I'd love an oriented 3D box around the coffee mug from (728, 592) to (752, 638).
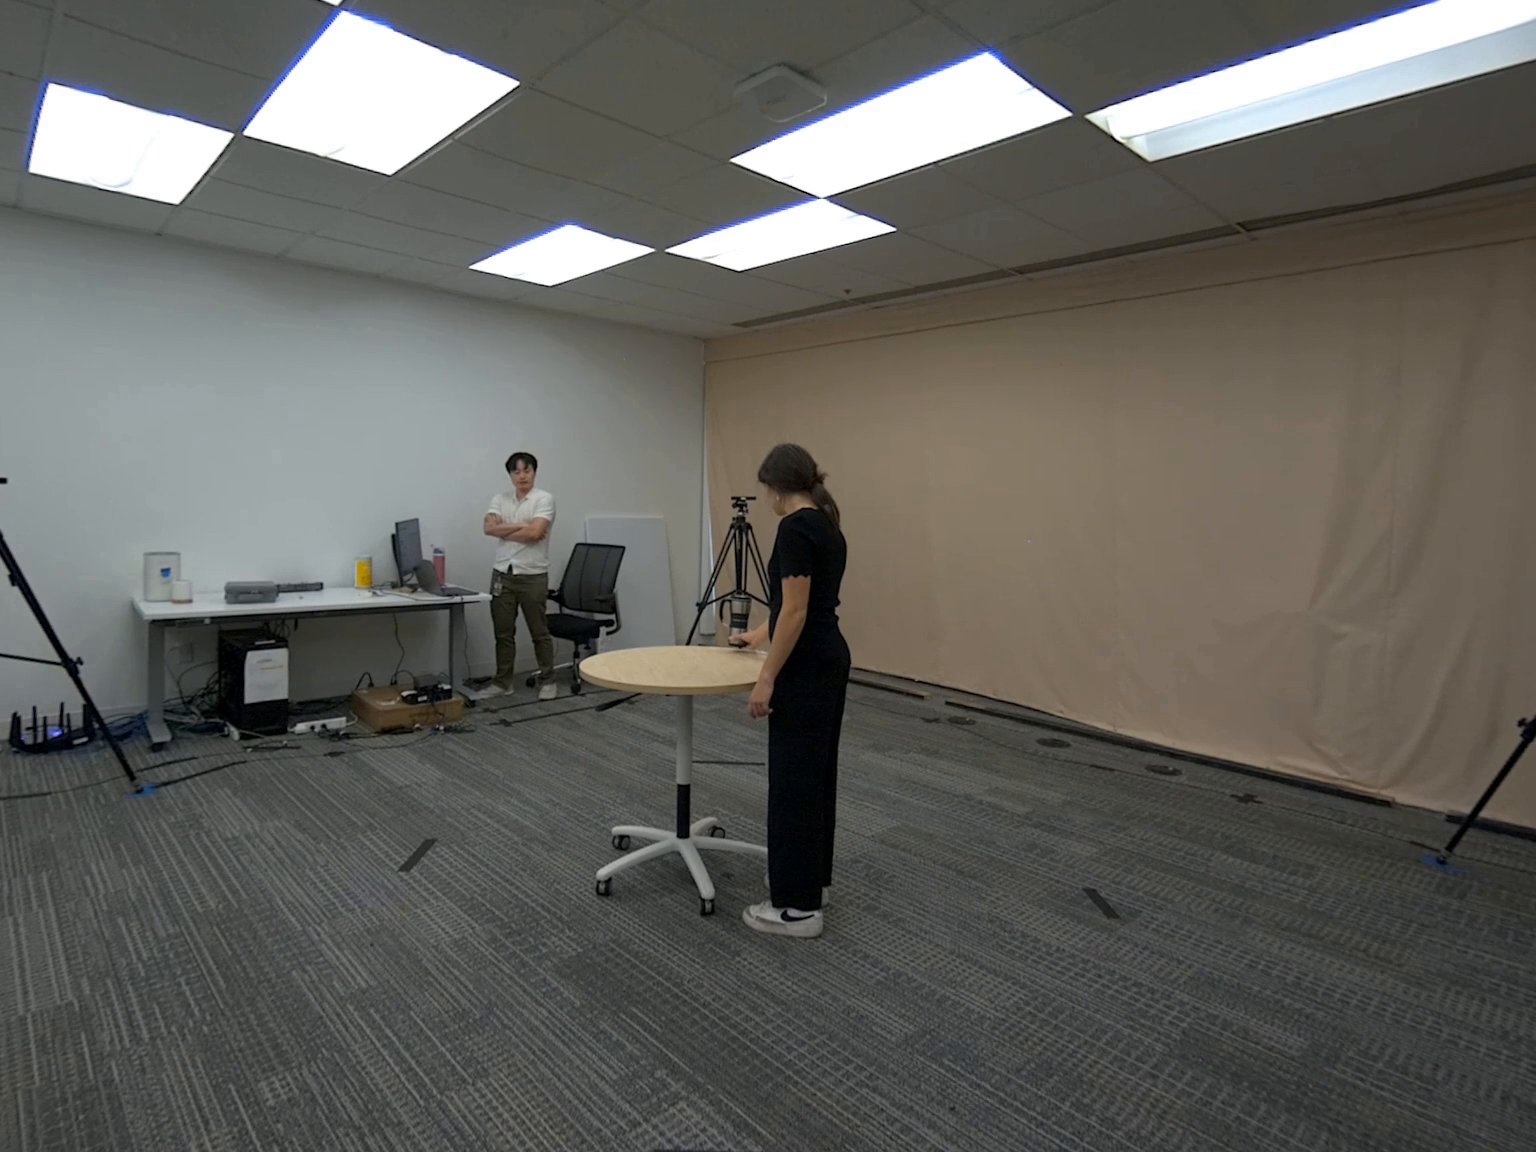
[{"bbox_3d":[-0.142,0.176,3.349,0.125,0.202,0.086,10,6,36],"label":"coffee mug"}]
